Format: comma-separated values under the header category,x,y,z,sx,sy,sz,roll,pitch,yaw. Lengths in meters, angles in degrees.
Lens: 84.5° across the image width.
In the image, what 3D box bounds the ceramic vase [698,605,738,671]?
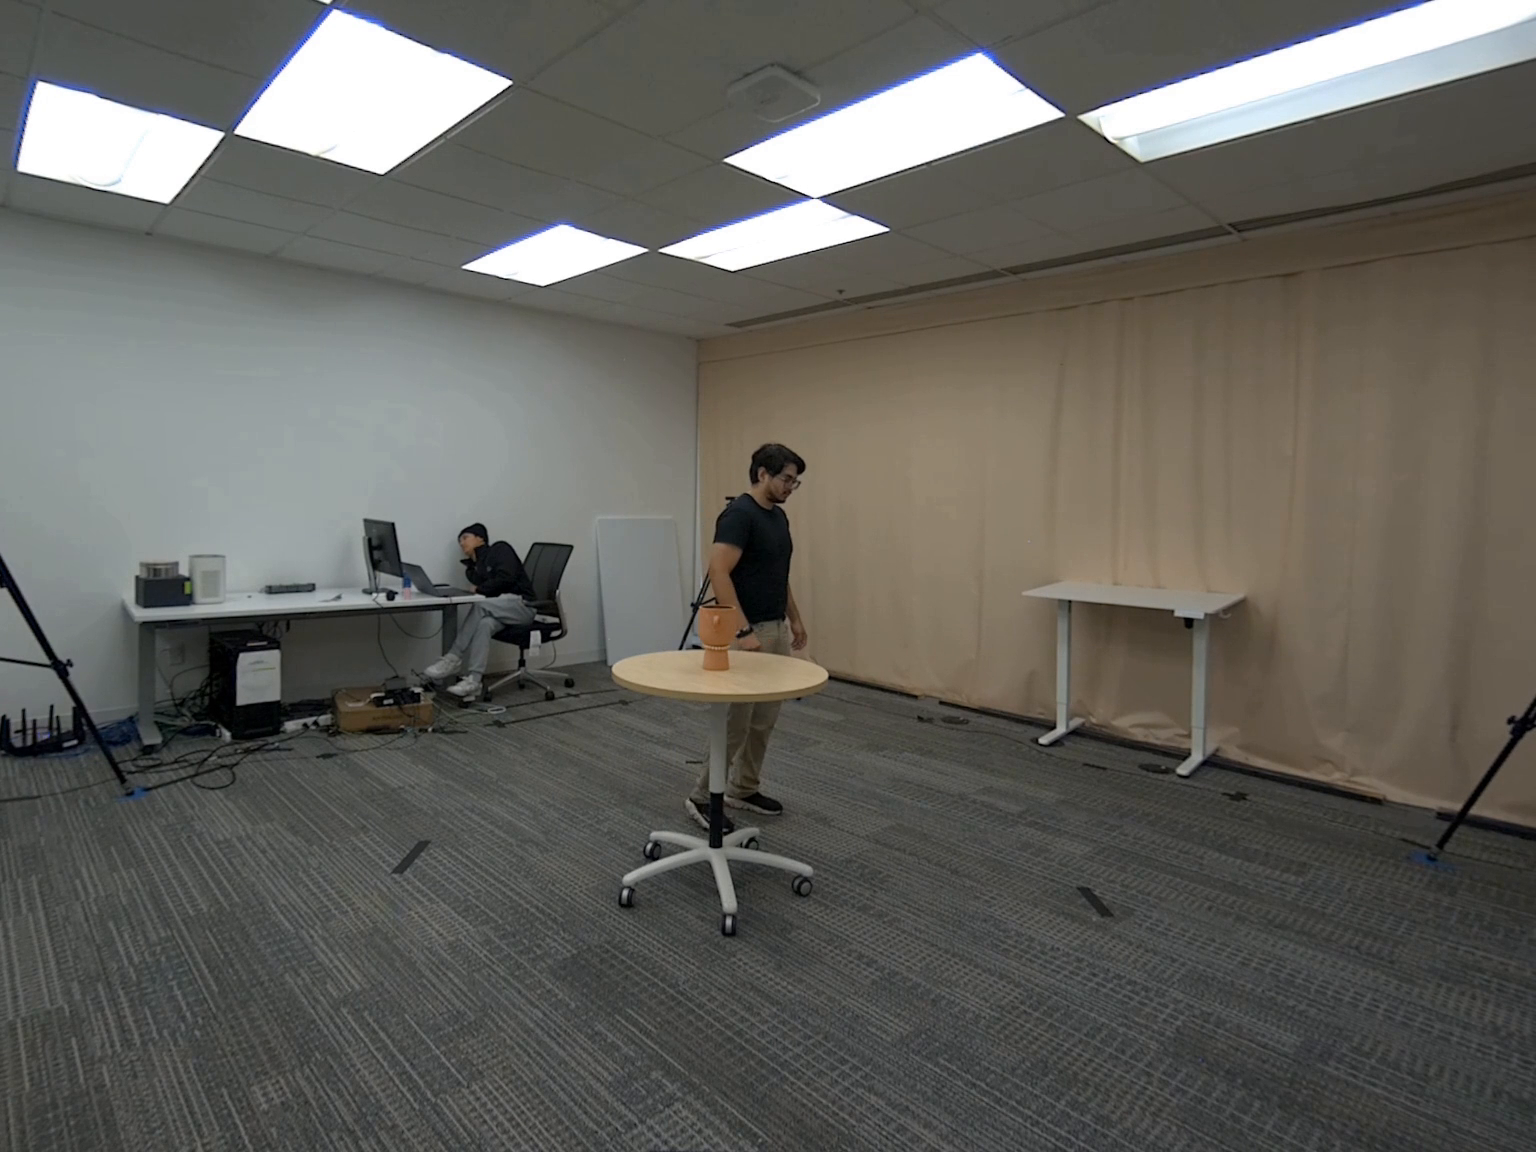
category,x,y,z,sx,sy,sz,roll,pitch,yaw
ceramic vase,-0.192,0.223,2.998,0.138,0.219,0.155,6,5,39
